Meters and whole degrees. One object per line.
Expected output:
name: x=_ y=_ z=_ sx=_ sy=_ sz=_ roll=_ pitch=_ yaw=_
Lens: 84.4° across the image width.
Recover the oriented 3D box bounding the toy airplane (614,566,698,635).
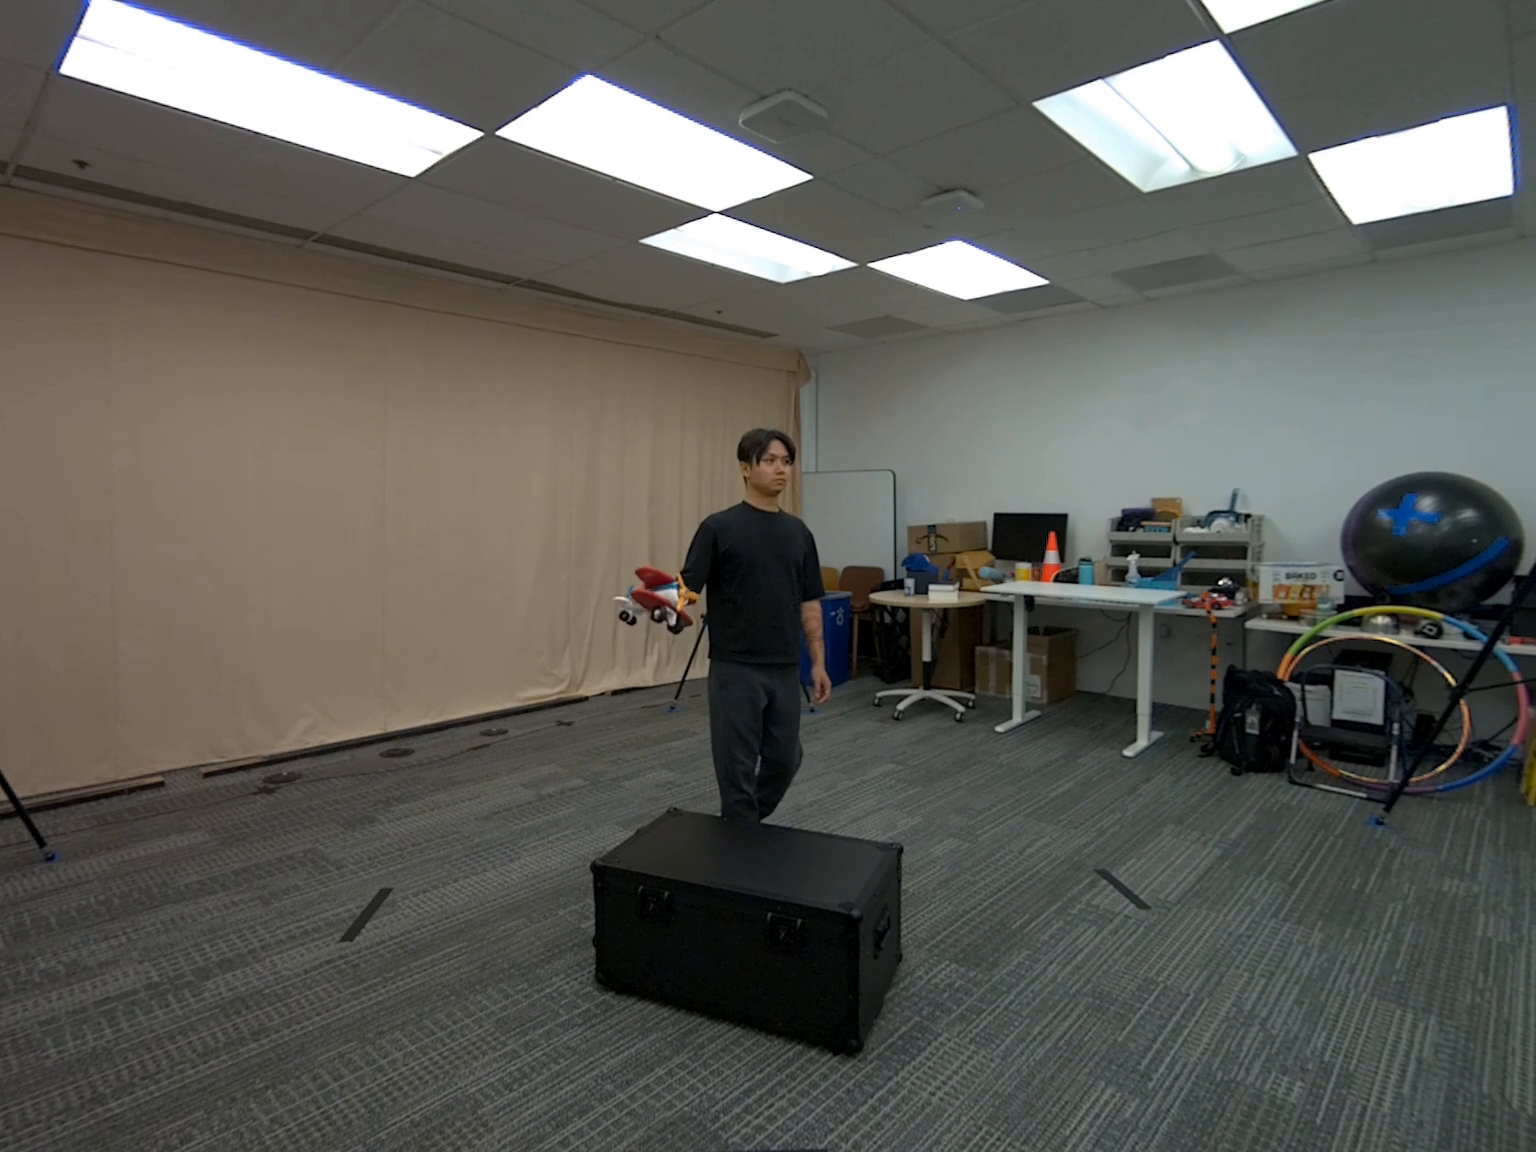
toy airplane: x=-0.360 y=0.076 z=2.629 sx=0.264 sy=0.157 sz=0.245 roll=15 pitch=-21 yaw=15
